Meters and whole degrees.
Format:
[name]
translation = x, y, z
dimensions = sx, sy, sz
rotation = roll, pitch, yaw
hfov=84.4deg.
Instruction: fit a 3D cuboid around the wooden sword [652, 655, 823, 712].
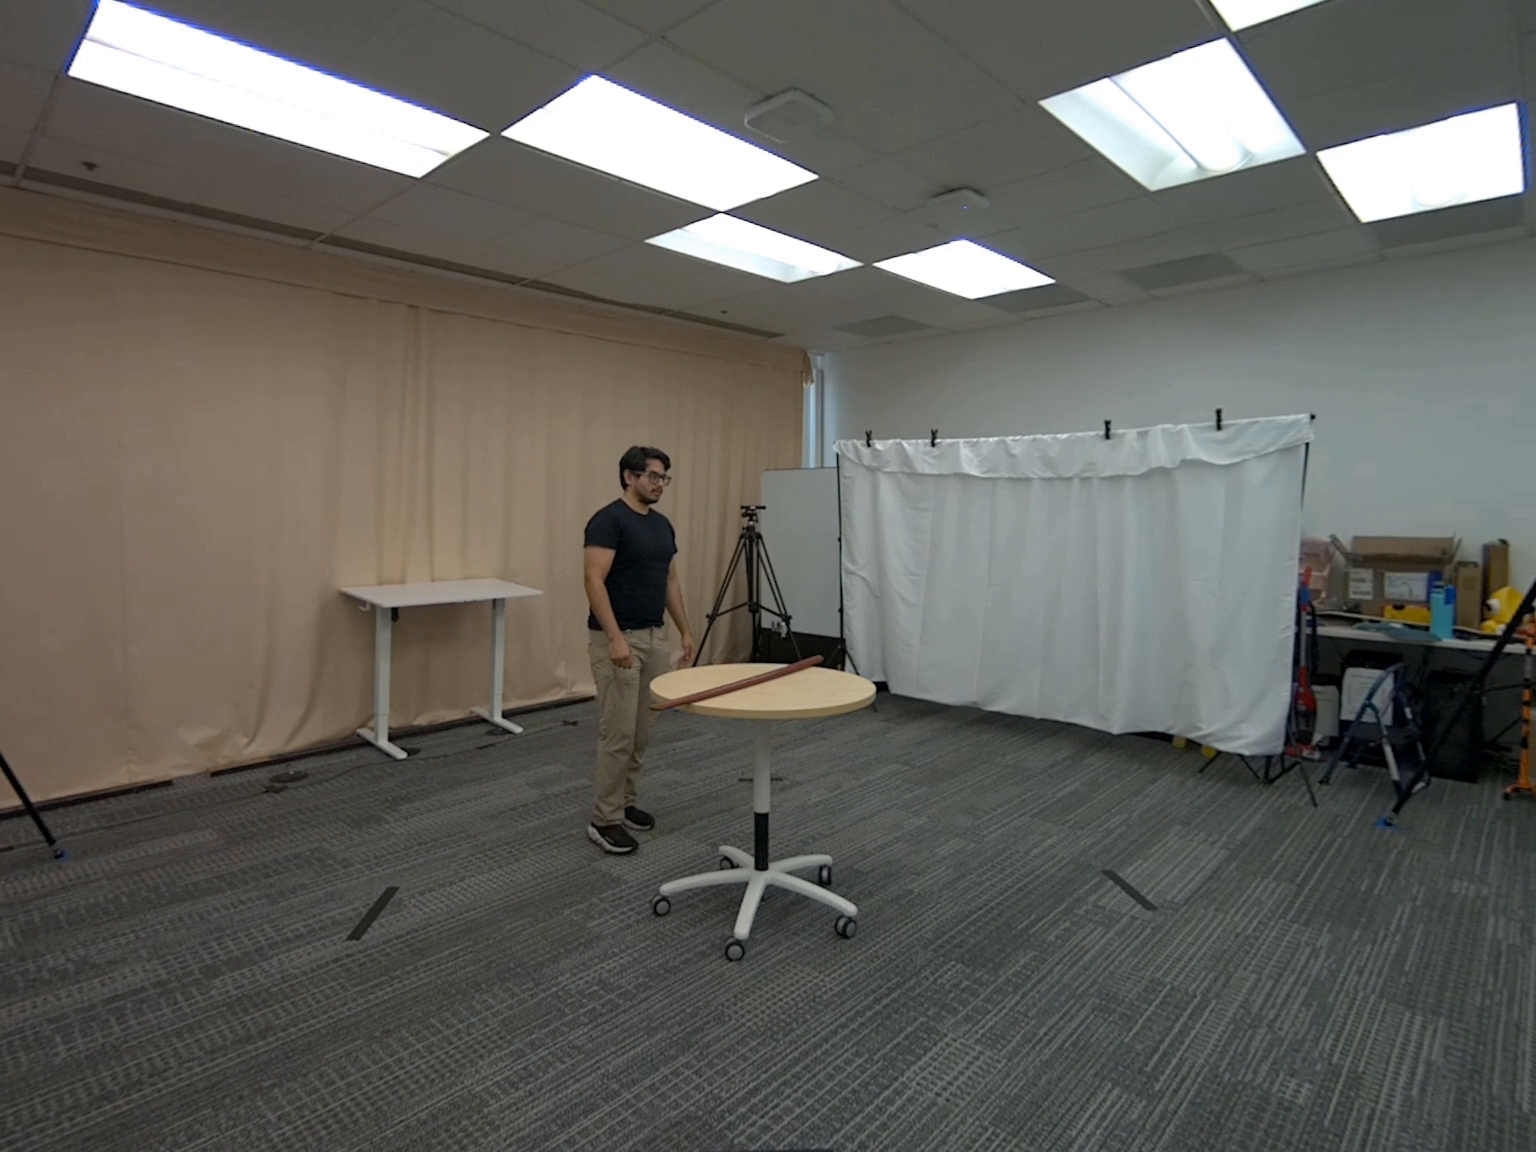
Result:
[wooden sword]
translation = -0.044, 0.360, 2.885
dimensions = 0.024, 0.051, 0.997
rotation = -17, -4, 31
